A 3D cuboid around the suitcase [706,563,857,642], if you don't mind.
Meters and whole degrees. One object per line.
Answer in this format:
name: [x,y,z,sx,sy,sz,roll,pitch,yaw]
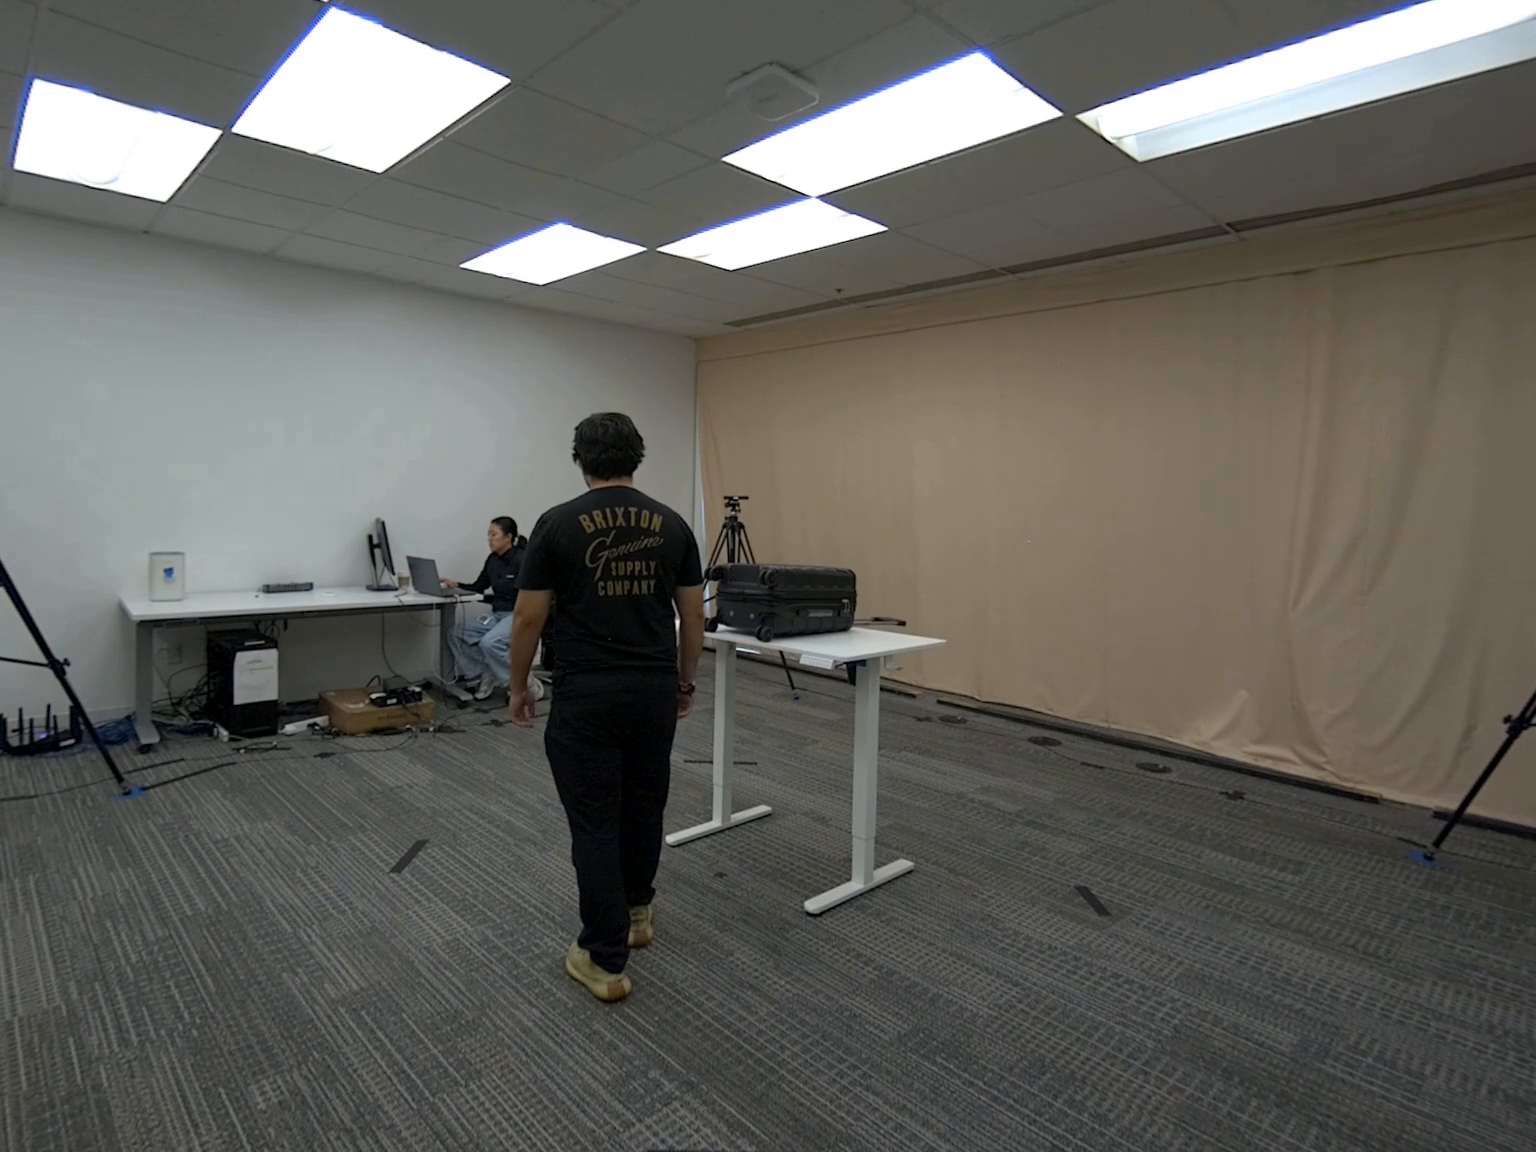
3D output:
suitcase: [0.206,0.088,3.376,0.956,0.257,0.393,-1,3,-44]
